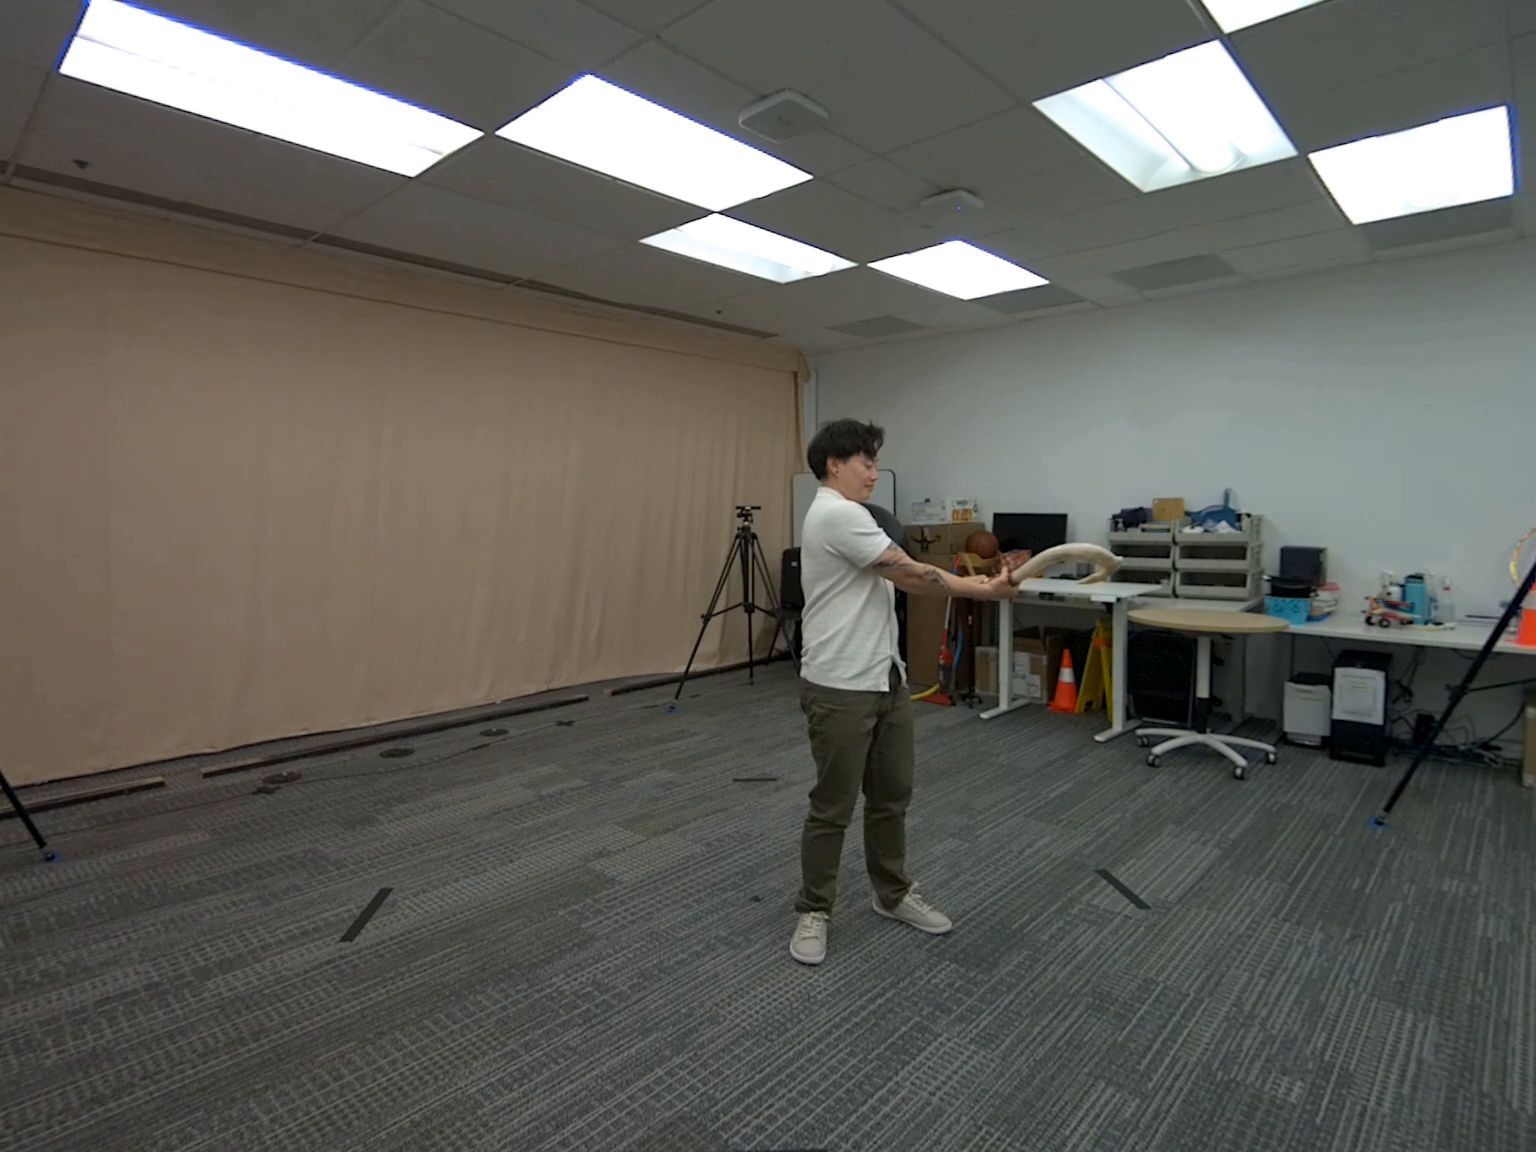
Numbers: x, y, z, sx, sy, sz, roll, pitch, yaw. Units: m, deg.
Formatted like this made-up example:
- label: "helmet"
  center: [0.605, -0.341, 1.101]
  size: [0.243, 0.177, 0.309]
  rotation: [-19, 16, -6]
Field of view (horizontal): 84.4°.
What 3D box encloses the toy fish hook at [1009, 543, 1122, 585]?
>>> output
- label: "toy fish hook"
  center: [0.809, 0.012, 2.525]
  size: [0.219, 0.048, 0.516]
  rotation: [28, -28, -22]
